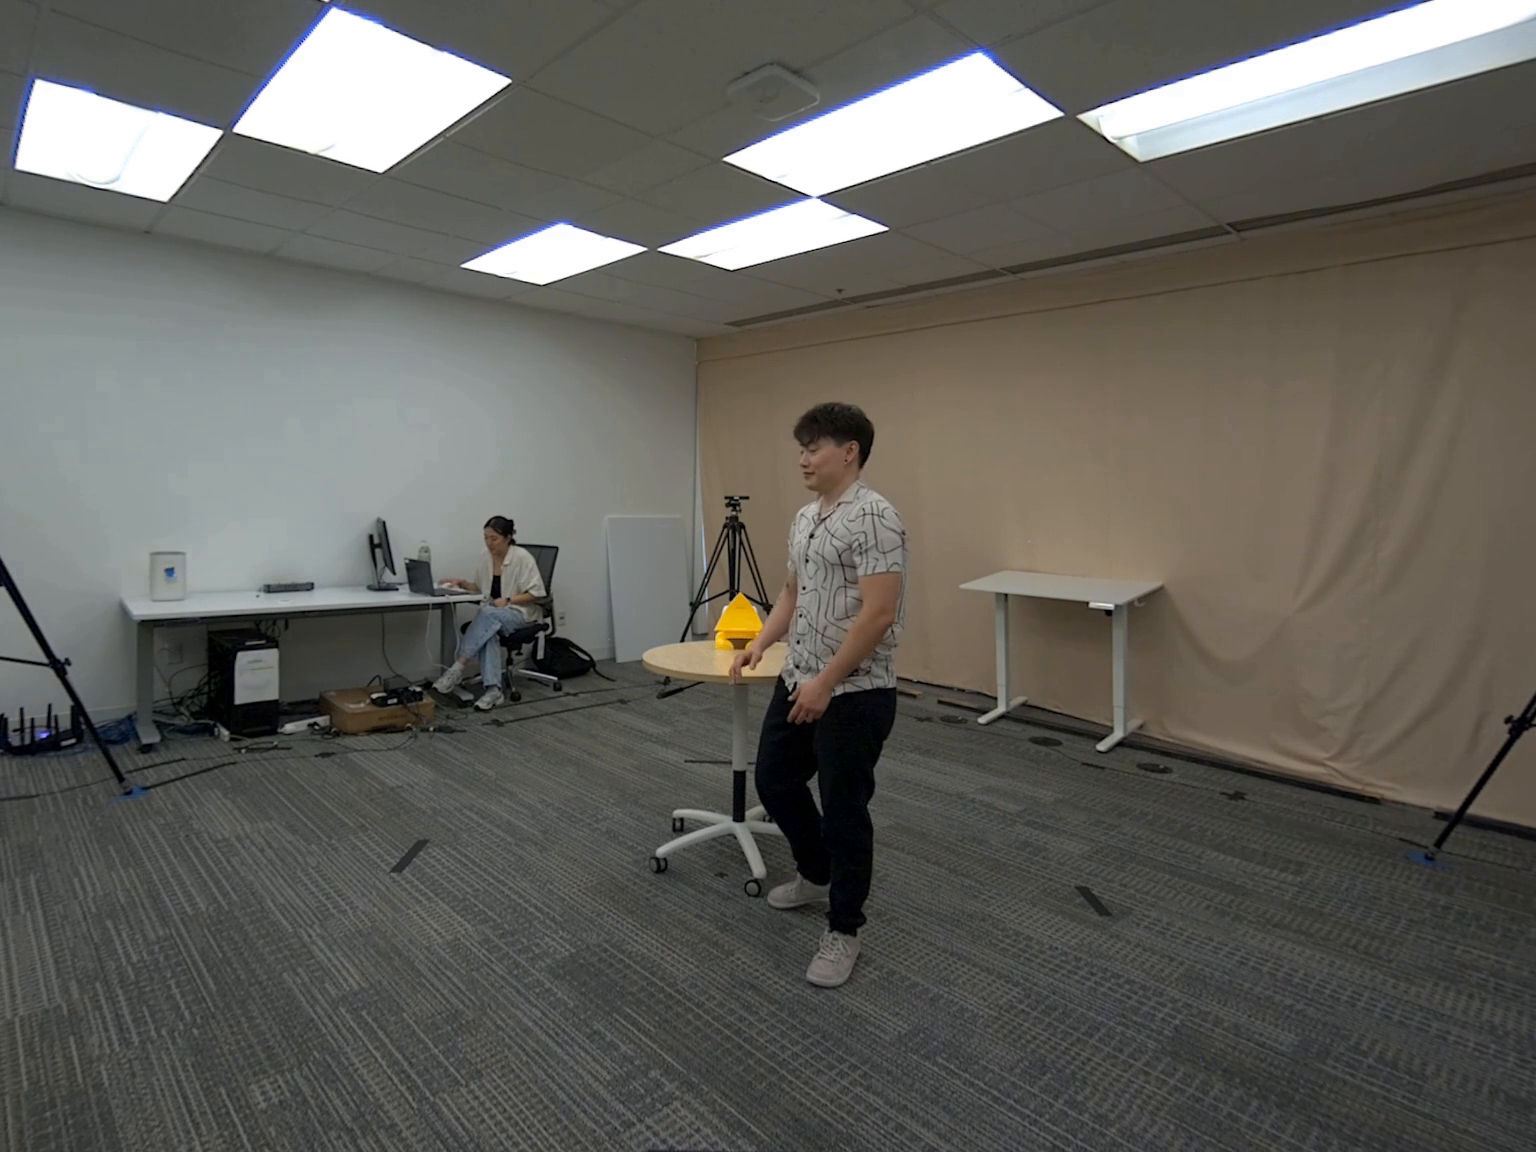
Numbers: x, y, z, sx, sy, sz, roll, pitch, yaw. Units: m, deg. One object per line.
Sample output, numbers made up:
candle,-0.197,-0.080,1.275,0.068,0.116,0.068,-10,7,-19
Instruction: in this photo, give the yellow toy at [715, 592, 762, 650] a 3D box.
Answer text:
yellow toy,-0.124,0.174,3.461,0.205,0.230,0.194,1,5,-1
